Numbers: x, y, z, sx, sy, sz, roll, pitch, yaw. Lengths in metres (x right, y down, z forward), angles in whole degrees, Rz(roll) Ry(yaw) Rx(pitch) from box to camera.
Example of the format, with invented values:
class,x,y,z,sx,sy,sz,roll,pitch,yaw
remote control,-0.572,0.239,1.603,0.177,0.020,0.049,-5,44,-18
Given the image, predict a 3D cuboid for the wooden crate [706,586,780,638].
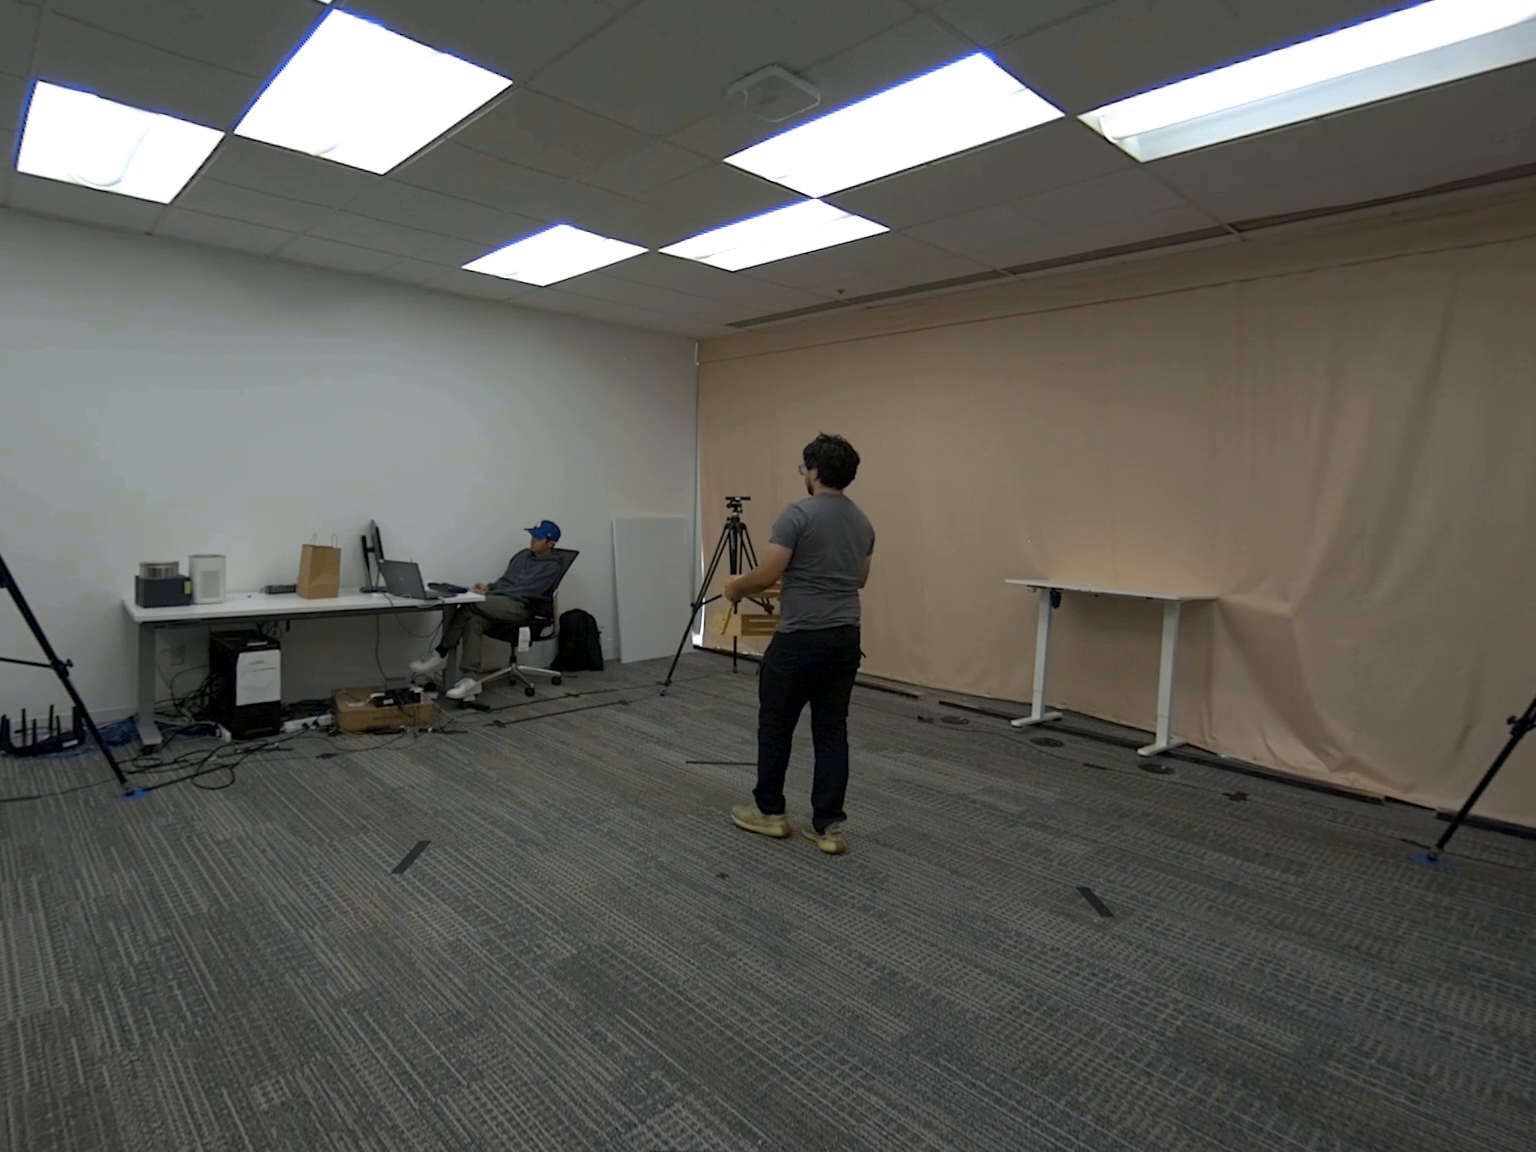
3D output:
class,x,y,z,sx,sy,sz,roll,pitch,yaw
wooden crate,-0.071,0.127,3.746,0.317,0.274,0.308,2,-2,-36
